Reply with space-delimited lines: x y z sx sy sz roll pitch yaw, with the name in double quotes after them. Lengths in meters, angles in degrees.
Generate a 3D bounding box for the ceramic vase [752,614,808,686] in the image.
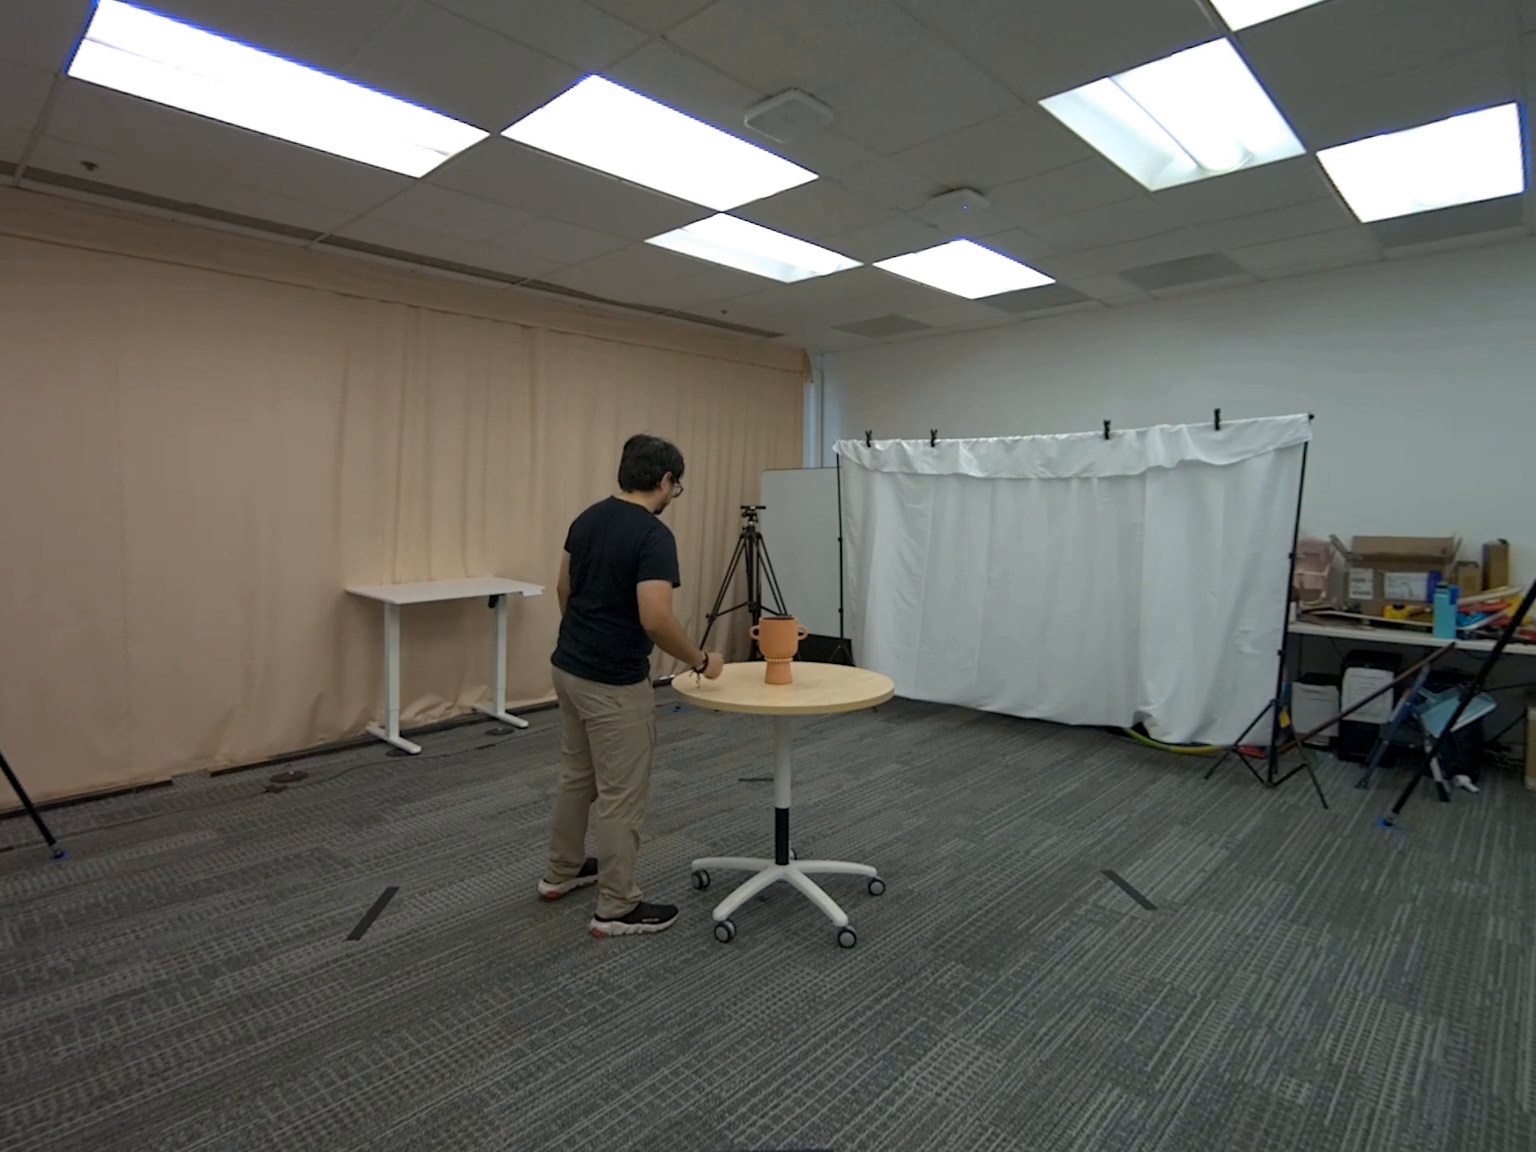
0.039 0.258 2.895 0.164 0.219 0.130 2 3 37 "ceramic vase"
